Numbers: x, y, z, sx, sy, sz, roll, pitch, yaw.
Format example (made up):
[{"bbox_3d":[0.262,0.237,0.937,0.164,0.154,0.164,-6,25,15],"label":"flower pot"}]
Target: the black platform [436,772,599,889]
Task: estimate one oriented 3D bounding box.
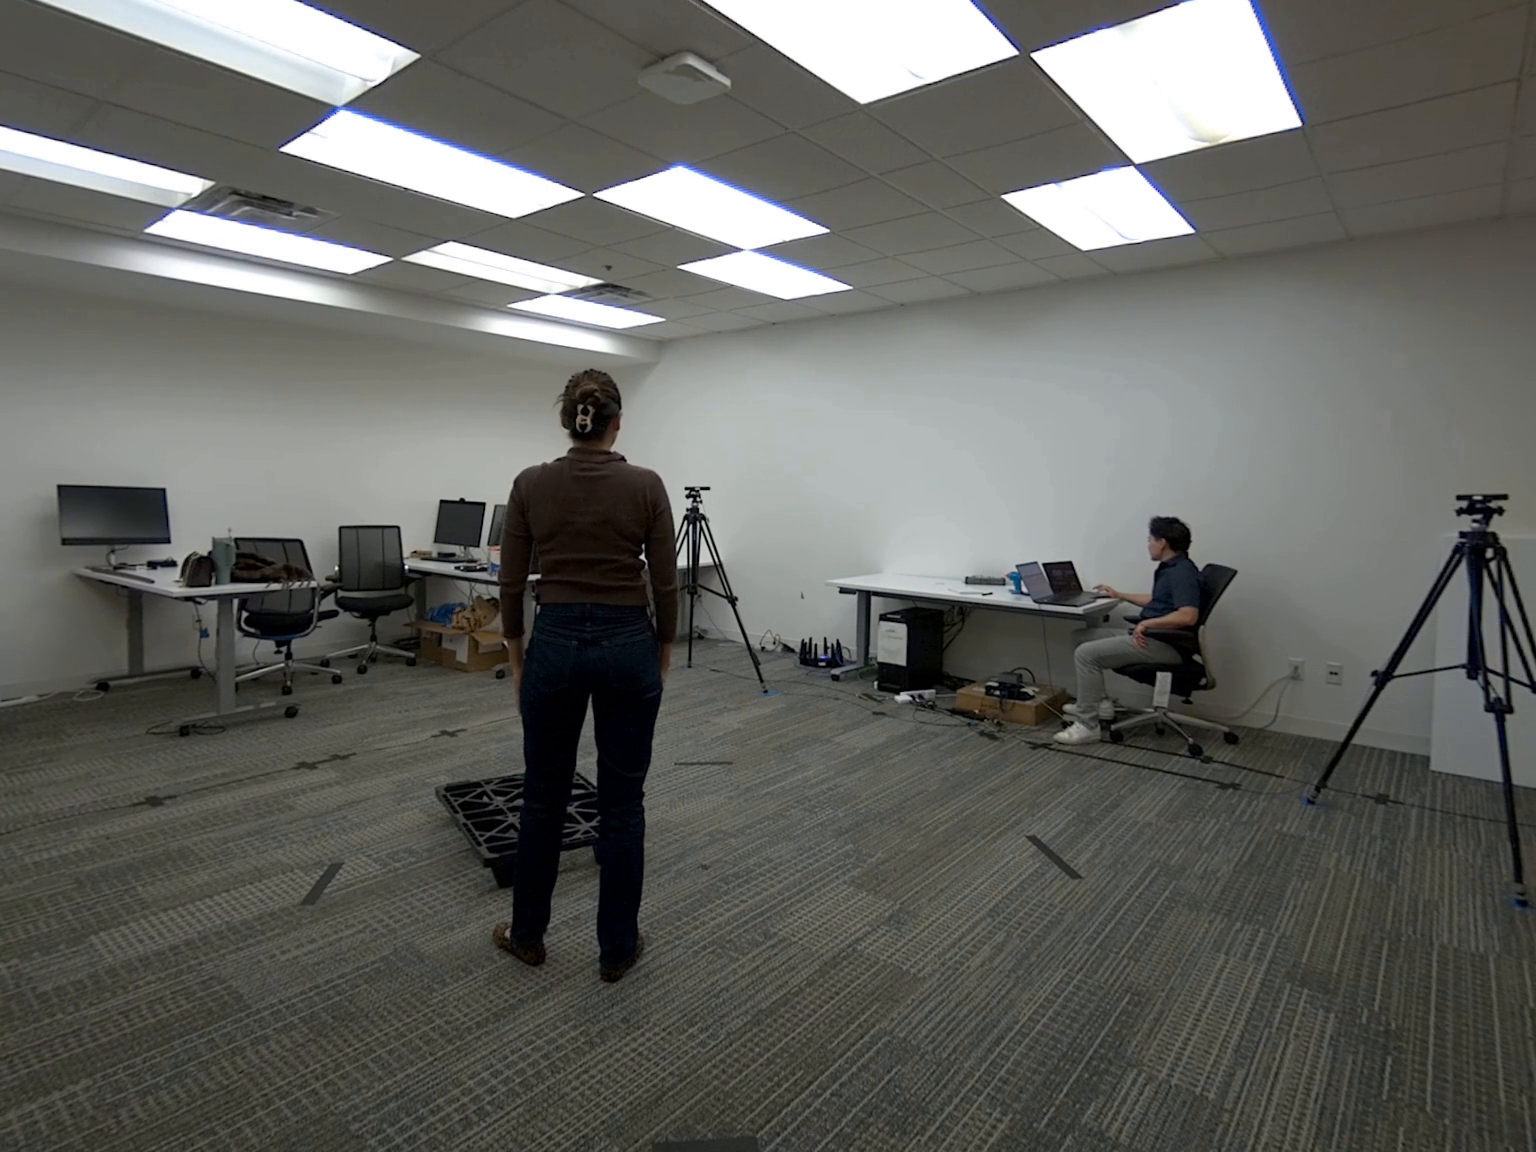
[{"bbox_3d":[-0.940,0.966,3.348,0.589,0.143,0.831,-4,7,-32],"label":"black platform"}]
